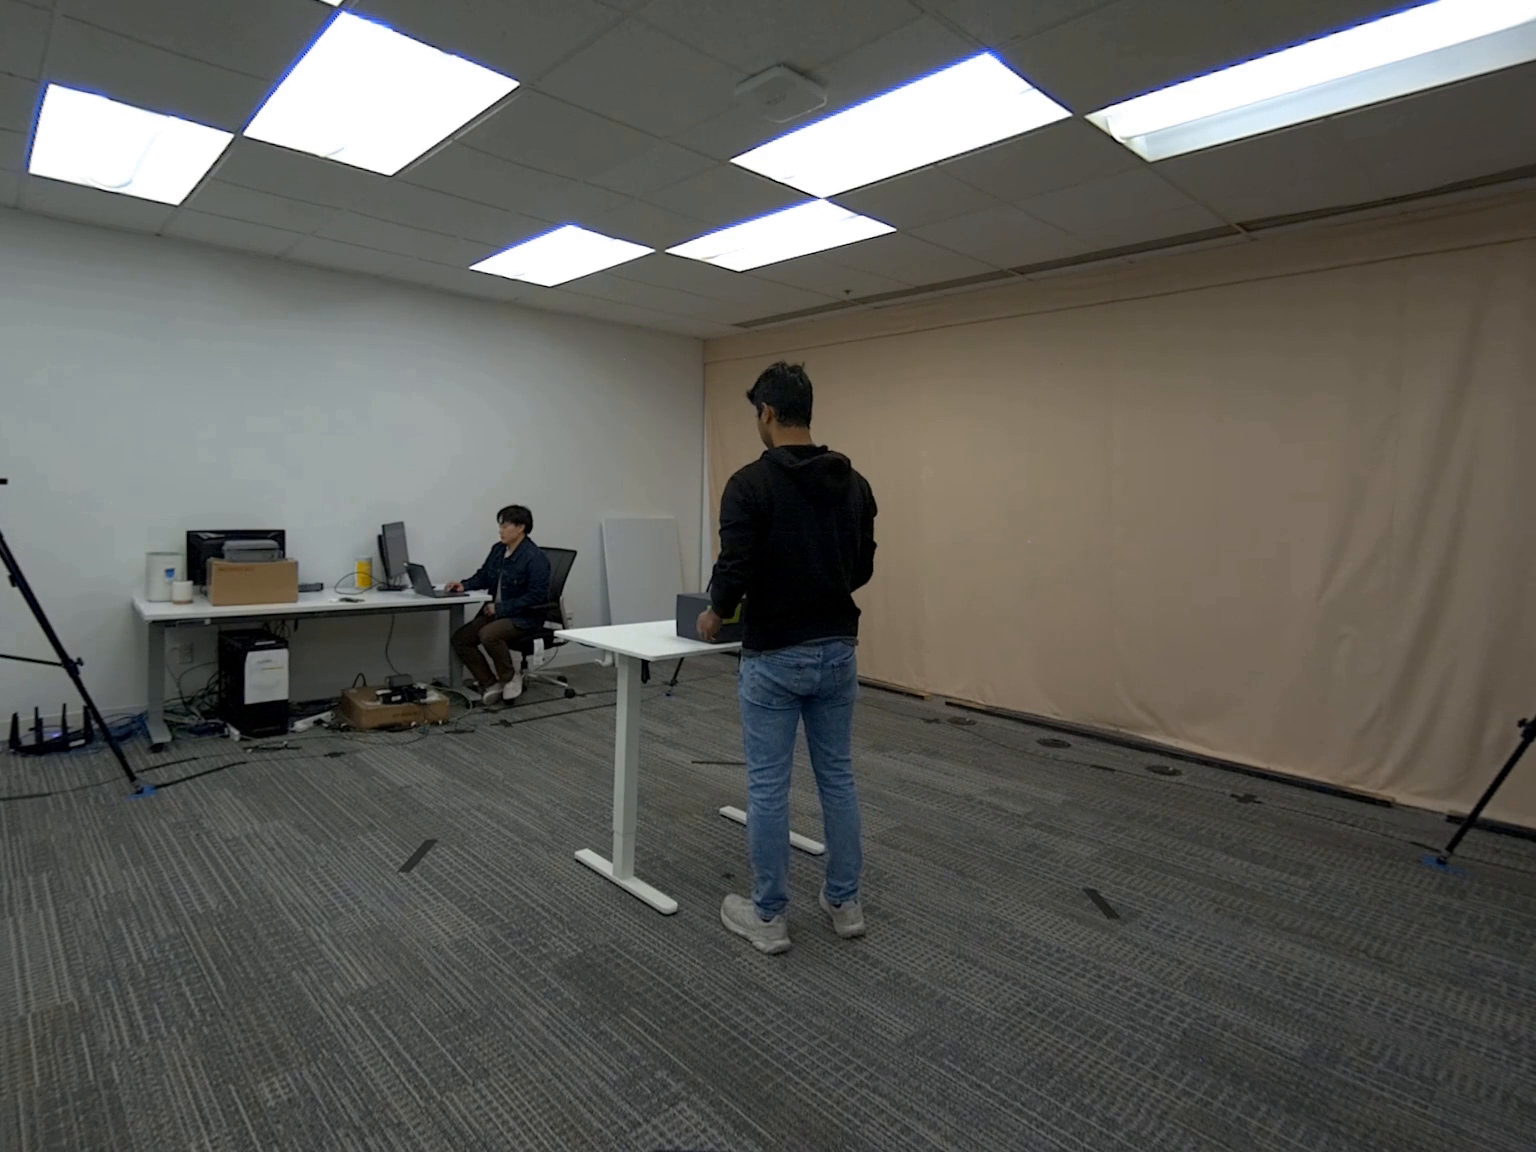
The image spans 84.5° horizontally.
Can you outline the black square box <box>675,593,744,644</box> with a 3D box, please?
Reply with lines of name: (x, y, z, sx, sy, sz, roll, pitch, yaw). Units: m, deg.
black square box: (-0.193, 0.149, 3.074, 0.223, 0.155, 0.222, -2, 6, -41)
